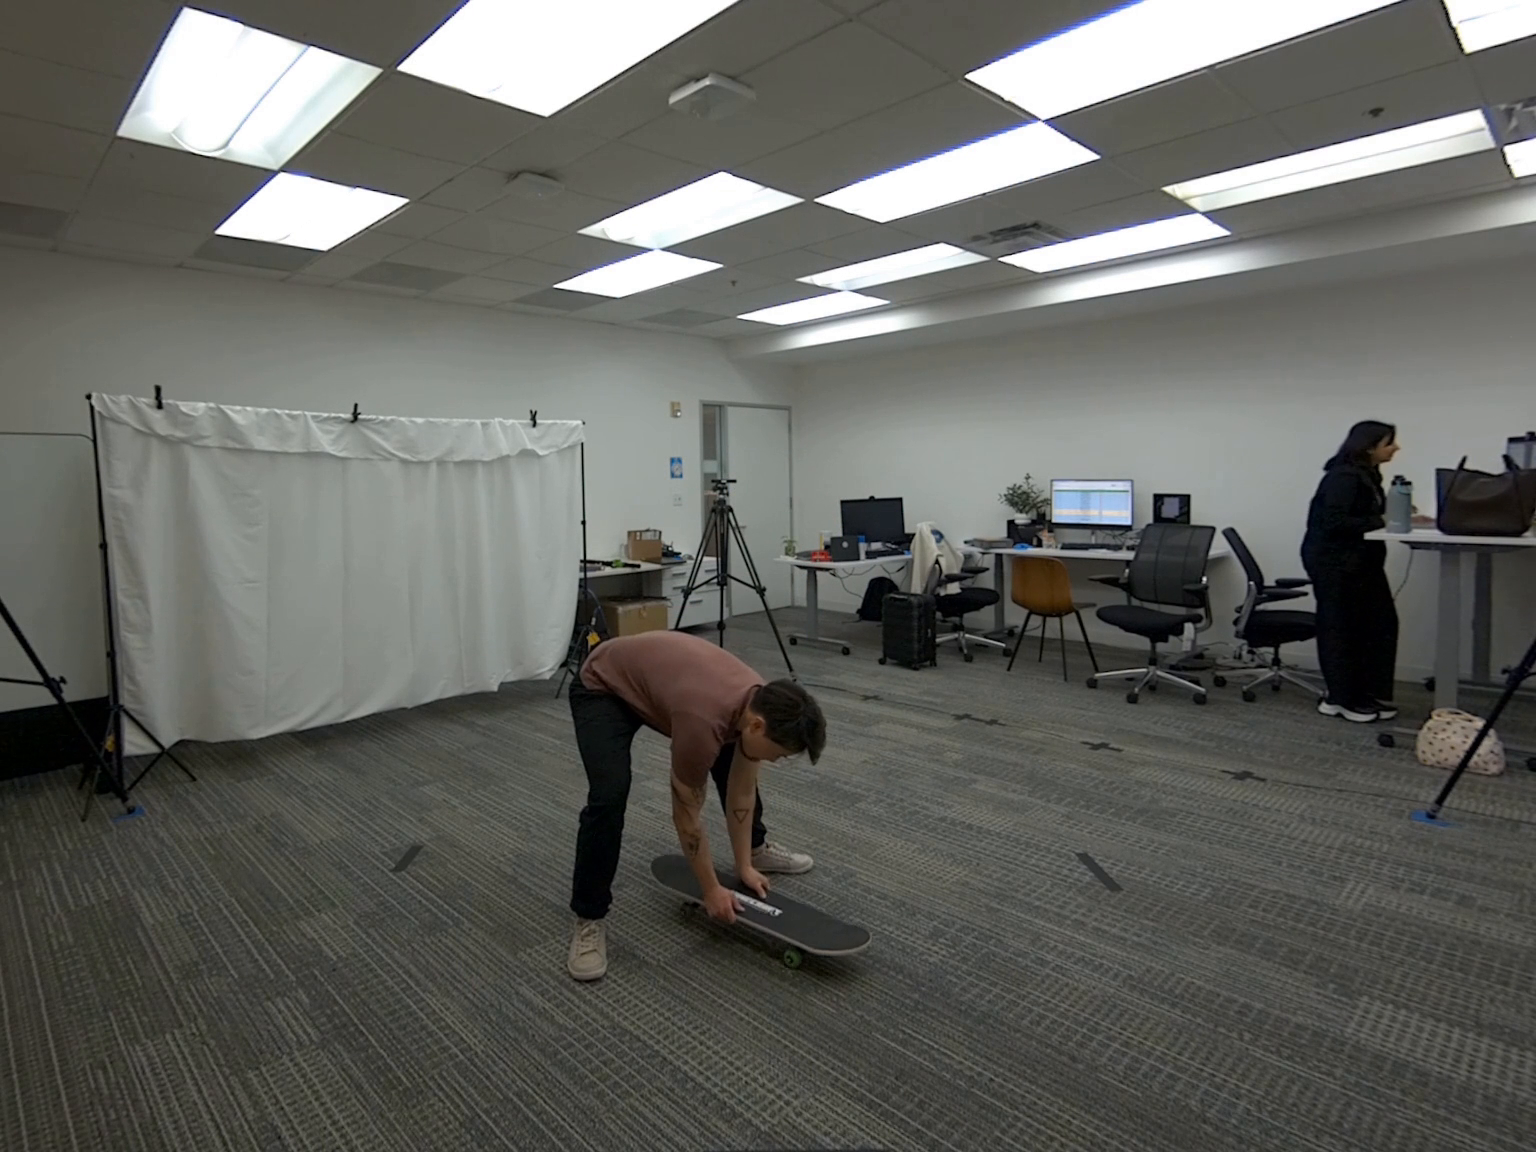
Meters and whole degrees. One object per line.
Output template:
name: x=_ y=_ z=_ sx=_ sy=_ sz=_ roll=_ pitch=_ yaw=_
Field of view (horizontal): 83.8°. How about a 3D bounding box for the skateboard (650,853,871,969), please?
skateboard: x=-0.037 y=1.035 z=2.627 sx=0.810 sy=0.110 sz=0.188 roll=7 pitch=8 yaw=36
